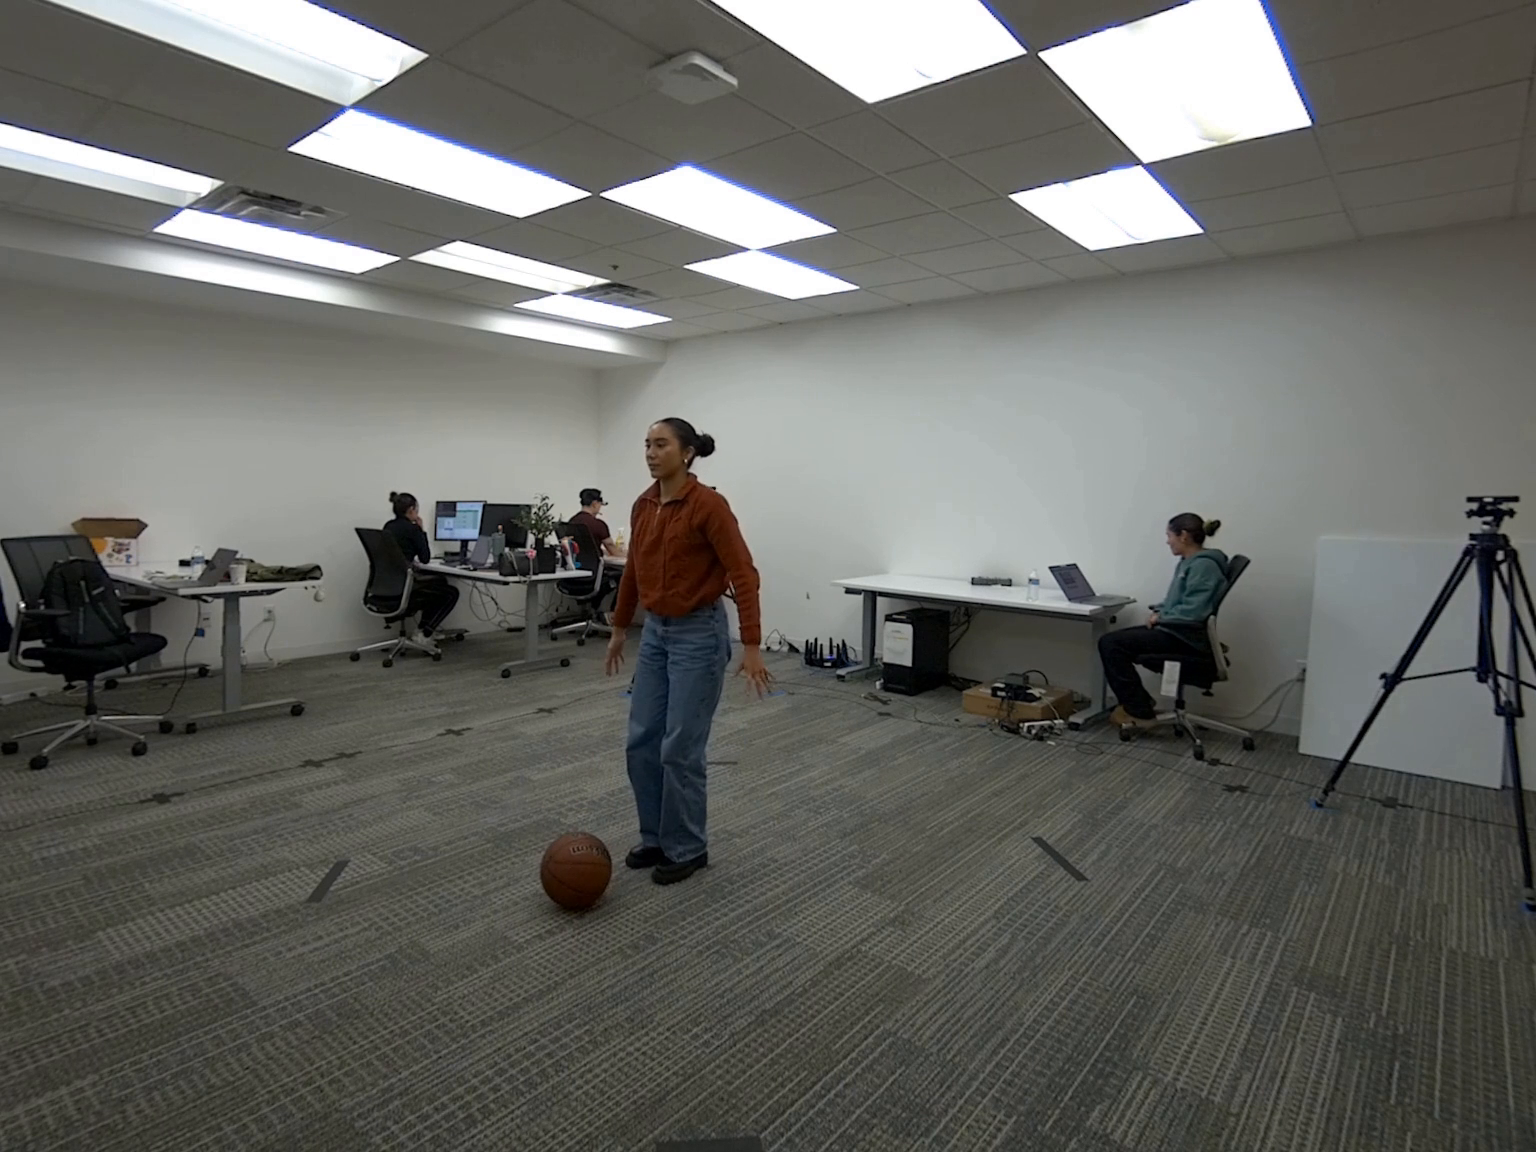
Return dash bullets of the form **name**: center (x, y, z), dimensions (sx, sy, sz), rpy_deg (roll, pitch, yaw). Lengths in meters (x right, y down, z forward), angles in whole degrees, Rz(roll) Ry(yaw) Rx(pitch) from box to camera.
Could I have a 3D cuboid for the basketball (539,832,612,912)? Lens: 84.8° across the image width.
- **basketball**: center (-0.641, 0.967, 2.813), dimensions (0.235, 0.235, 0.237), rpy_deg (1, 4, -2)
